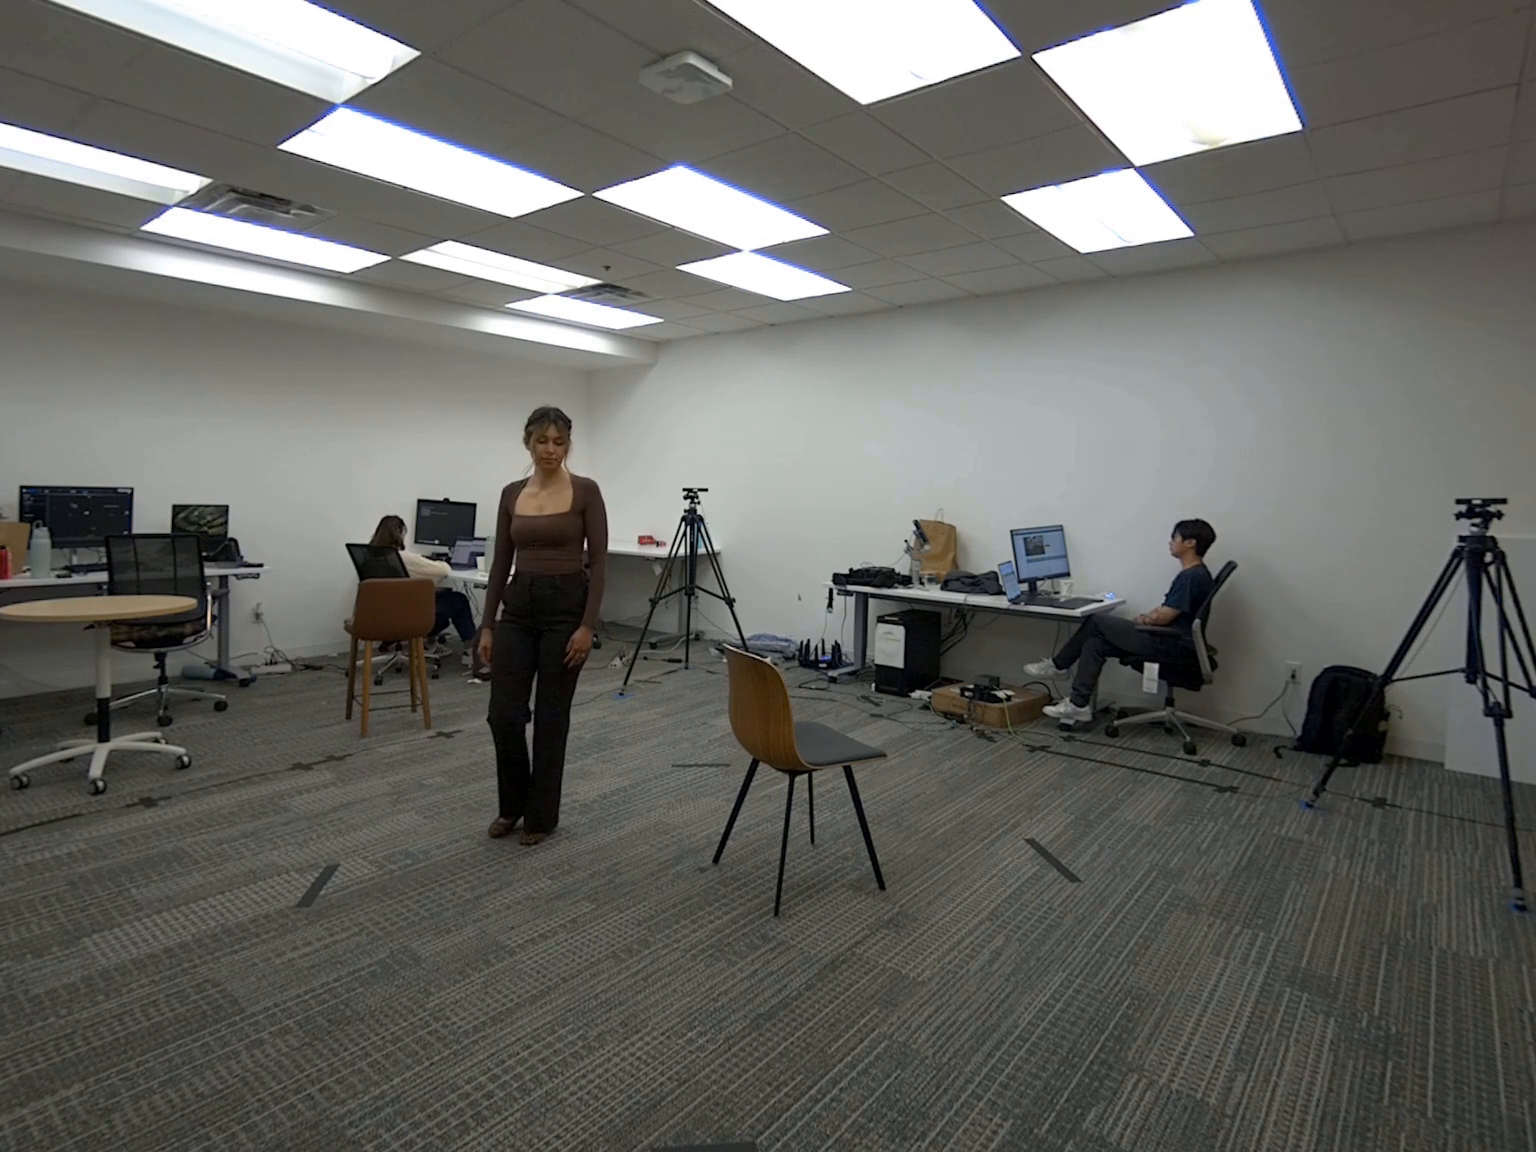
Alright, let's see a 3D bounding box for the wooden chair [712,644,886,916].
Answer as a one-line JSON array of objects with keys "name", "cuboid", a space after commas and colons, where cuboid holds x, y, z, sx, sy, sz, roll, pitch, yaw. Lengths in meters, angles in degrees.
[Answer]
[{"name": "wooden chair", "cuboid": [0.112, 0.656, 3.044, 0.510, 0.873, 0.492, -5, 6, -30]}]
